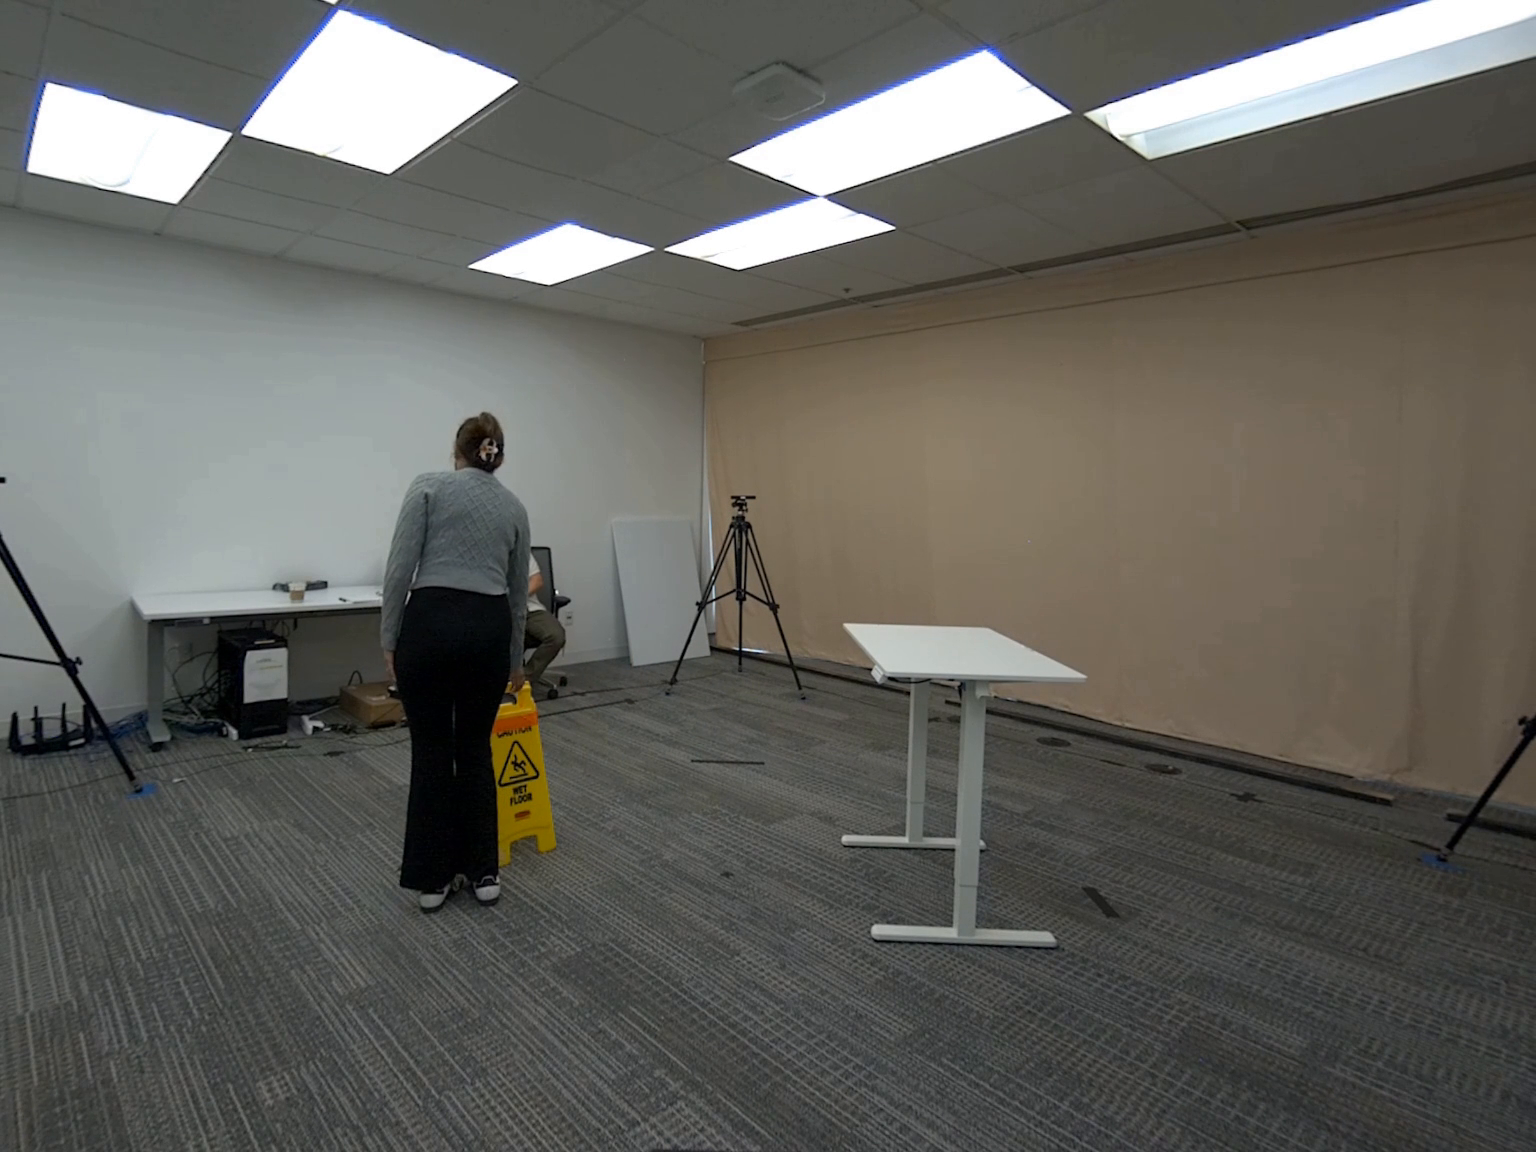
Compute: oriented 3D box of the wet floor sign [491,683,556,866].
[{"bbox_3d":[-1.033,0.746,3.290,0.297,0.645,0.276,3,3,43],"label":"wet floor sign"}]
